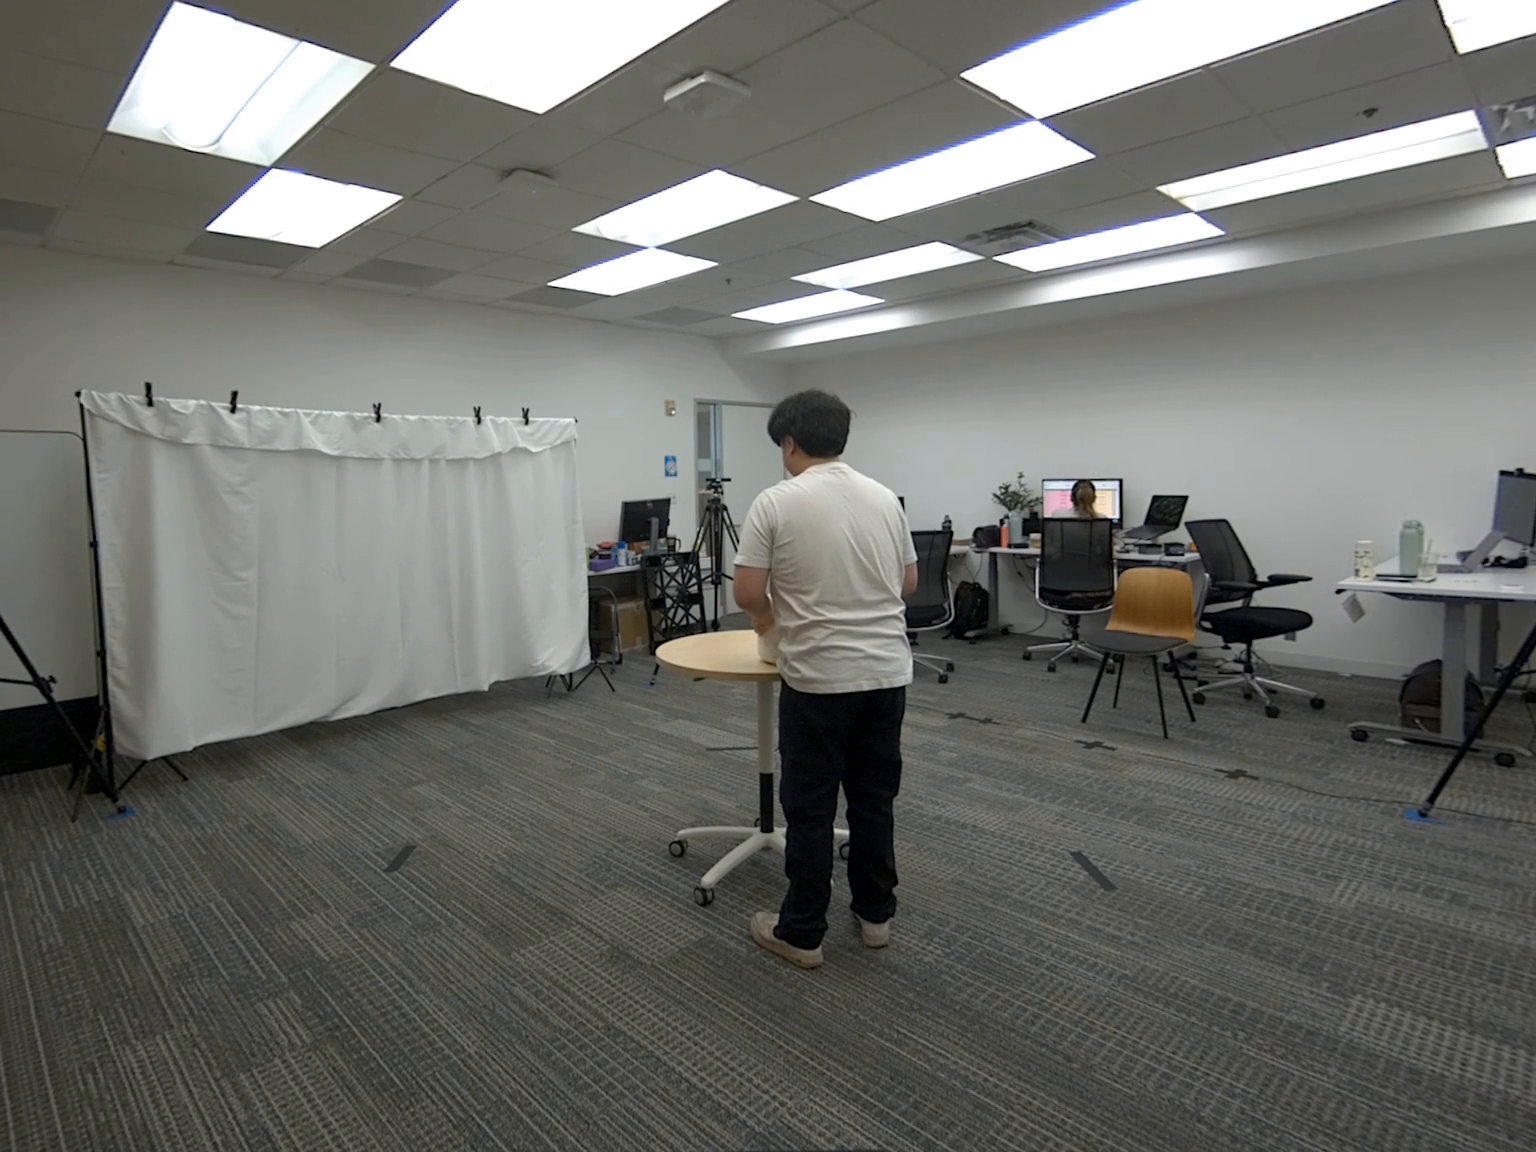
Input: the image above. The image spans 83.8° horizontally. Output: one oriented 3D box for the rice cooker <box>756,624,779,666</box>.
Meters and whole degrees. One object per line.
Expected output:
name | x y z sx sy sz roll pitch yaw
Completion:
rice cooker | 0.076 0.163 2.794 0.216 0.232 0.222 -4 5 -22
